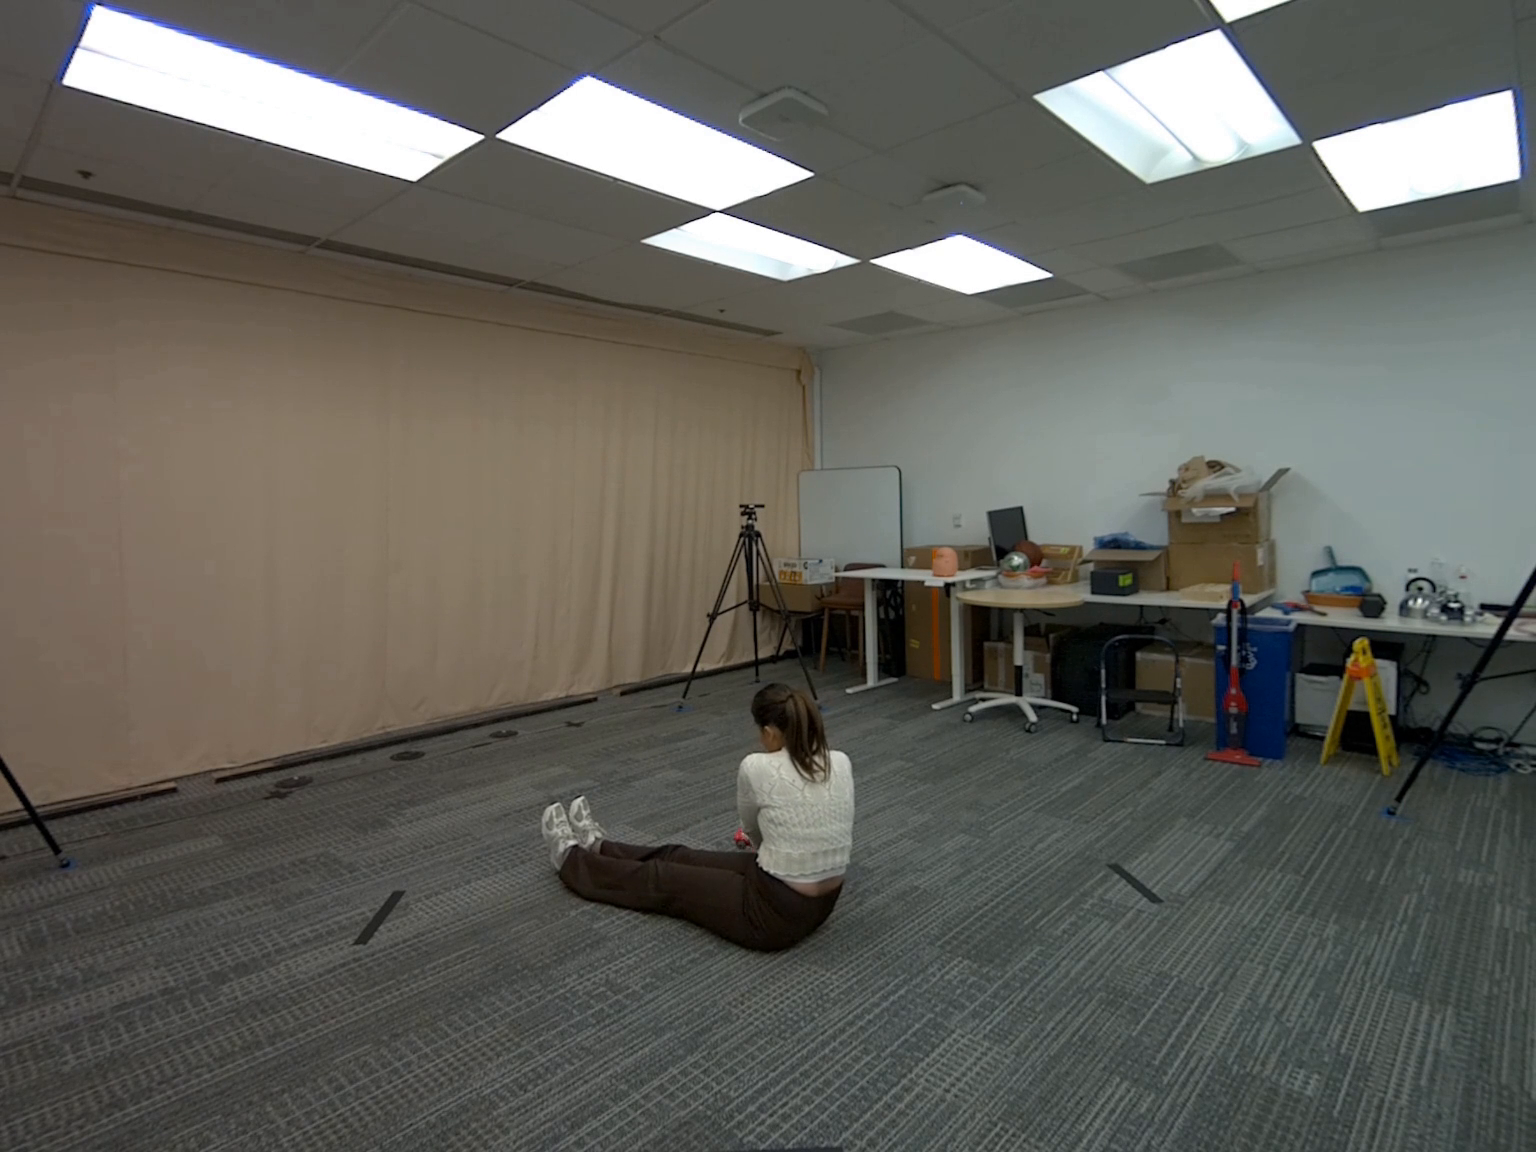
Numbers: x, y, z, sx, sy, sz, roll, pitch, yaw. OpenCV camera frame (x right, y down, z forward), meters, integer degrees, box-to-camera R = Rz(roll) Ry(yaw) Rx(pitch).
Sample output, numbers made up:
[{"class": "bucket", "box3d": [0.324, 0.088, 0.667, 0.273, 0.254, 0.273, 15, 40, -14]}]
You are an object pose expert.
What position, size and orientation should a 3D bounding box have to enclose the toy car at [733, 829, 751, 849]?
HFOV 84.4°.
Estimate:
[{"class": "toy car", "box3d": [-0.010, 1.019, 3.258, 0.258, 0.083, 0.129, -11, 5, 16]}]
